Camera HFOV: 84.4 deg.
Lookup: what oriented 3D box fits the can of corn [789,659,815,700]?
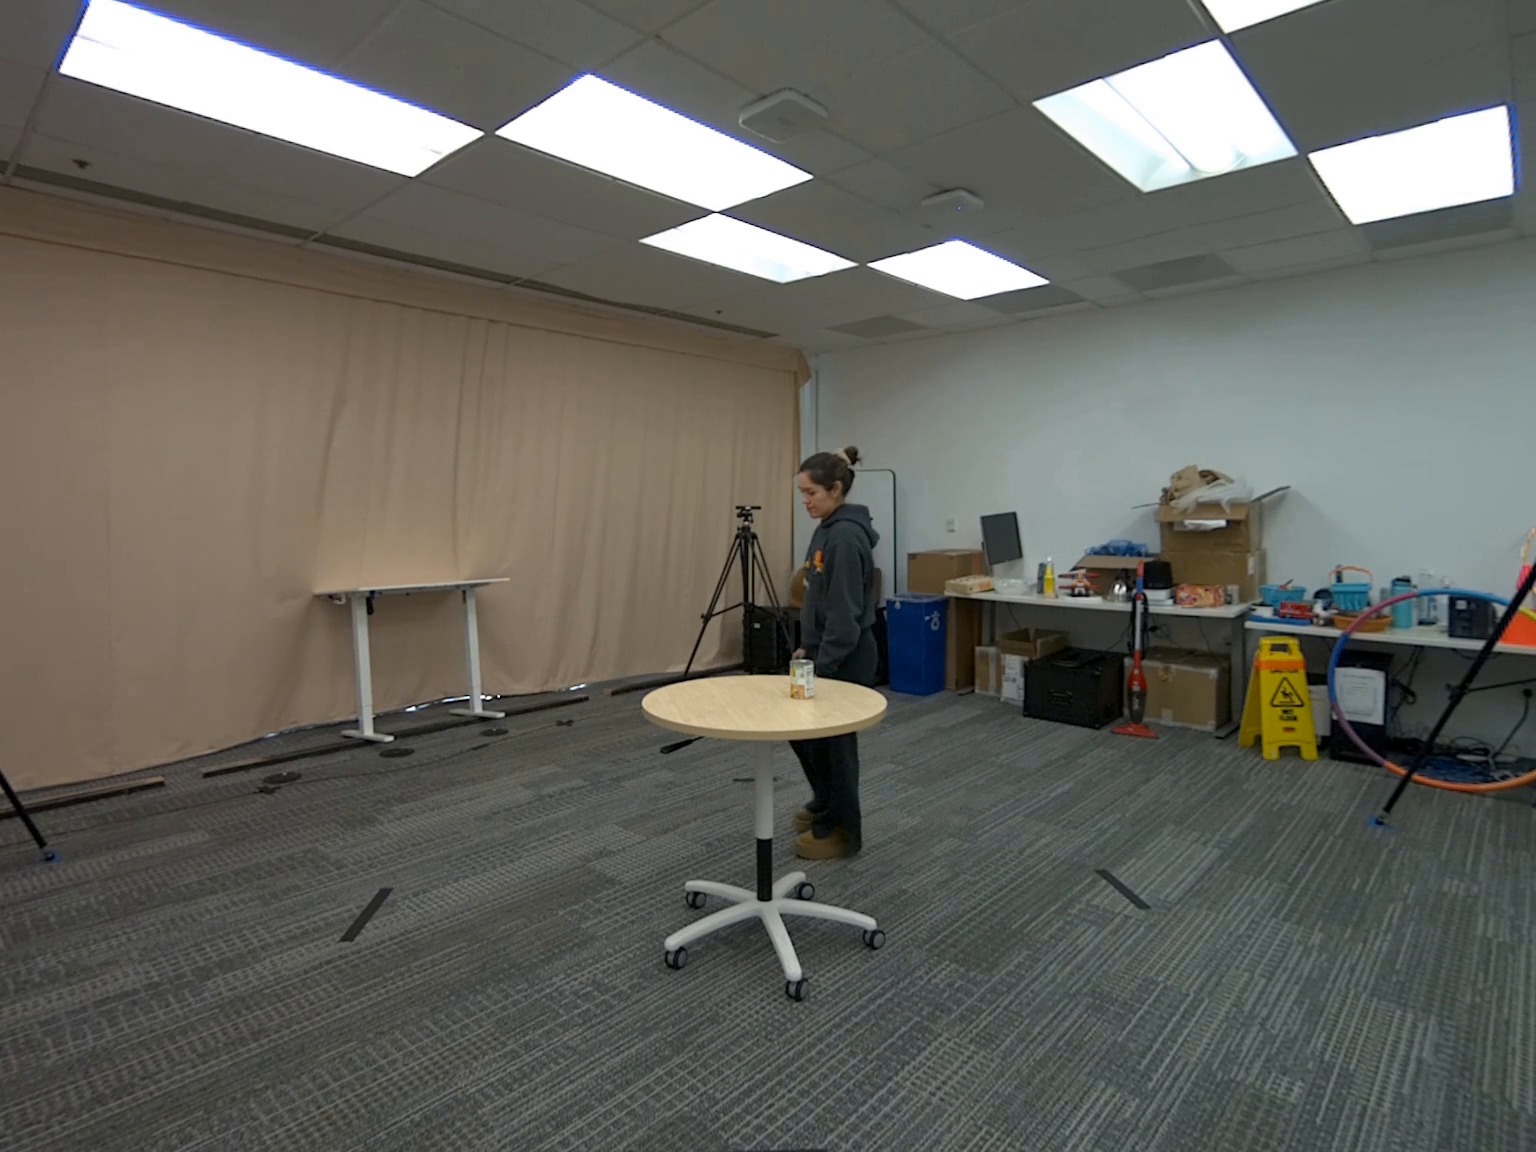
[{"bbox_3d":[0.124,0.327,2.667,0.074,0.111,0.074,-3,4,-2],"label":"can of corn"}]
